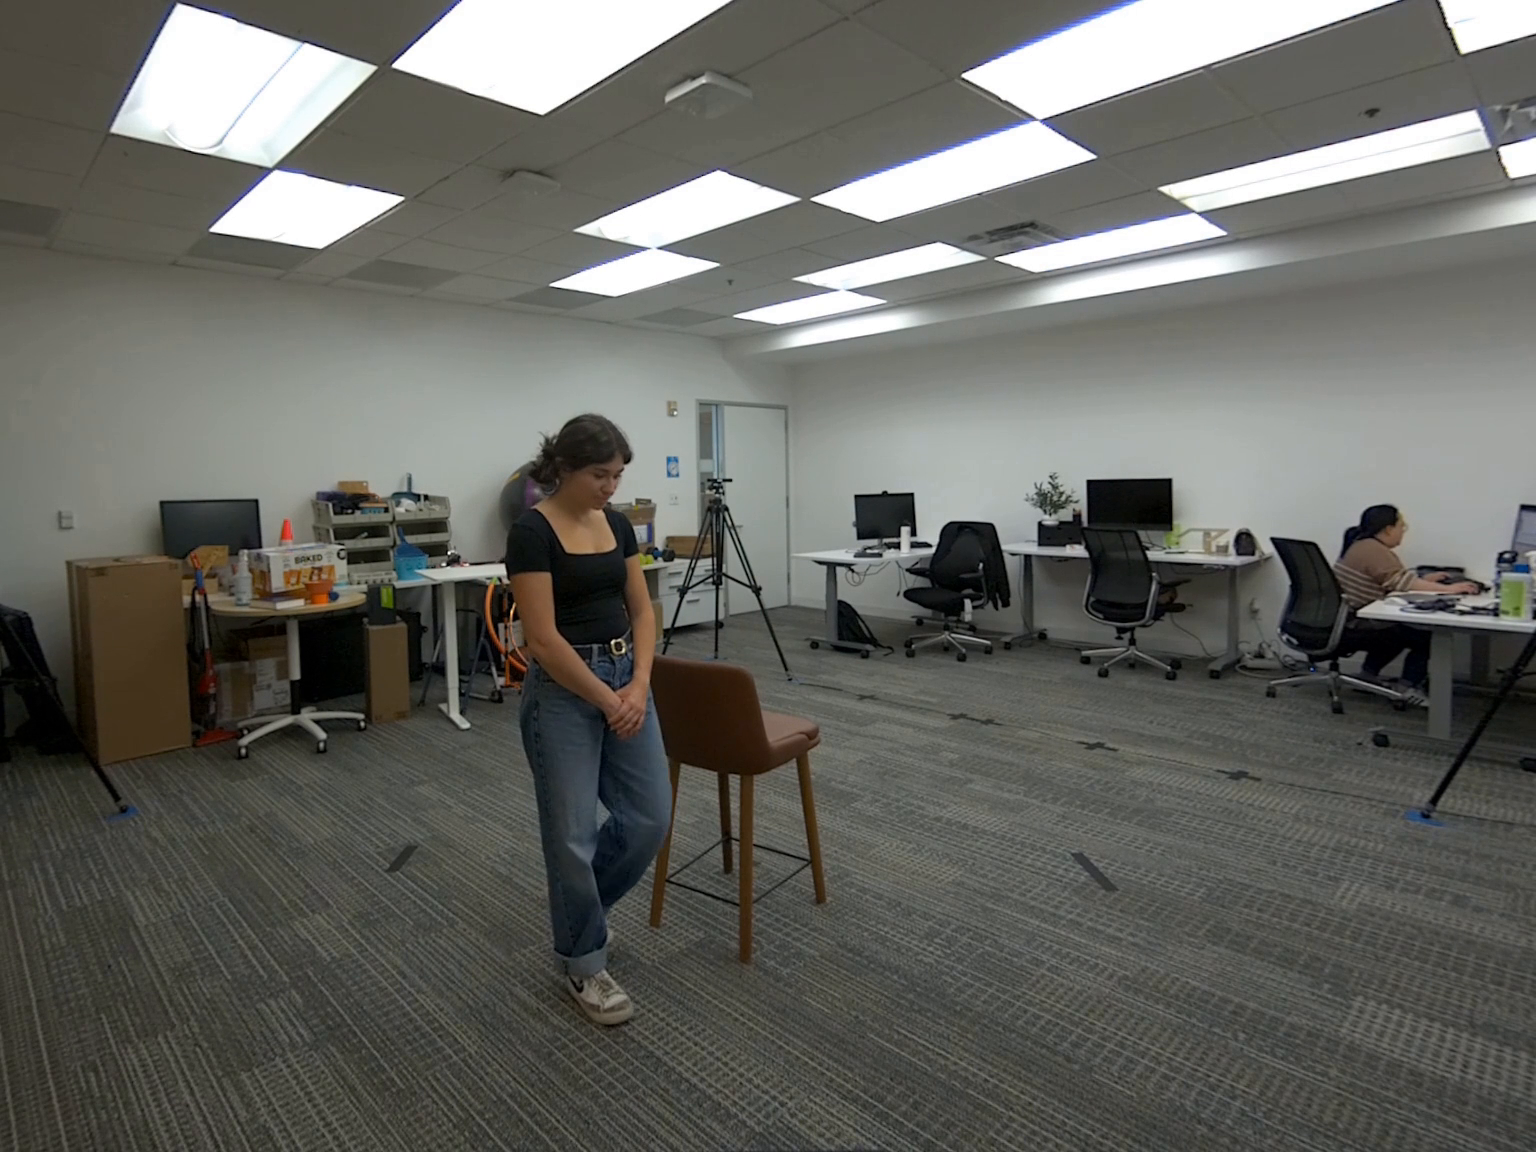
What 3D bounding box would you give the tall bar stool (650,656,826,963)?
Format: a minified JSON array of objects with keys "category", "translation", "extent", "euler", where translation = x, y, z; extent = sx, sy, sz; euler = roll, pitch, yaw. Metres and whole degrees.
[{"category":"tall bar stool","translation":[-0.105,0.655,2.726],"extent":[0.470,0.885,0.457],"euler":[2,7,35]}]
